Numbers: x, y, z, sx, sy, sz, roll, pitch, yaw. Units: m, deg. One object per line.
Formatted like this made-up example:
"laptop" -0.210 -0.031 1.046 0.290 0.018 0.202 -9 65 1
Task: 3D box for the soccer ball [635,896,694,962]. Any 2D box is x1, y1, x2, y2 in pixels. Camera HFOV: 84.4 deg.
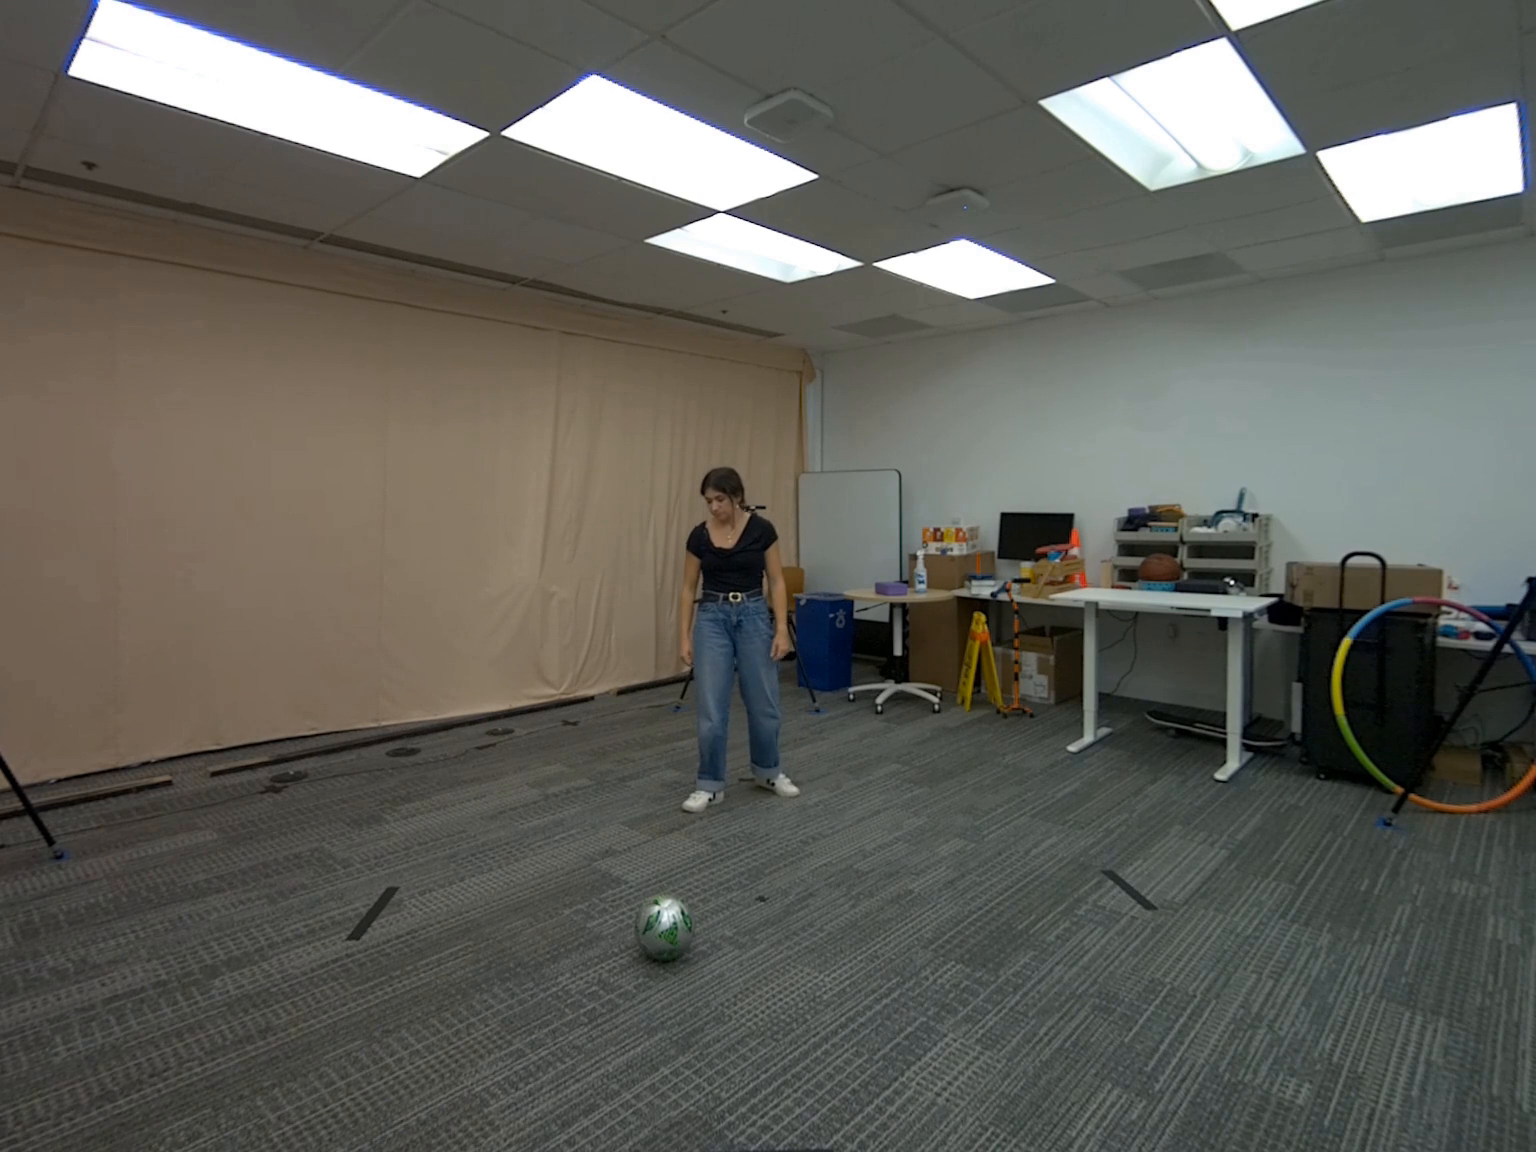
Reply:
"soccer ball" -0.318 1.072 2.602 0.187 0.187 0.188 0 4 -2
